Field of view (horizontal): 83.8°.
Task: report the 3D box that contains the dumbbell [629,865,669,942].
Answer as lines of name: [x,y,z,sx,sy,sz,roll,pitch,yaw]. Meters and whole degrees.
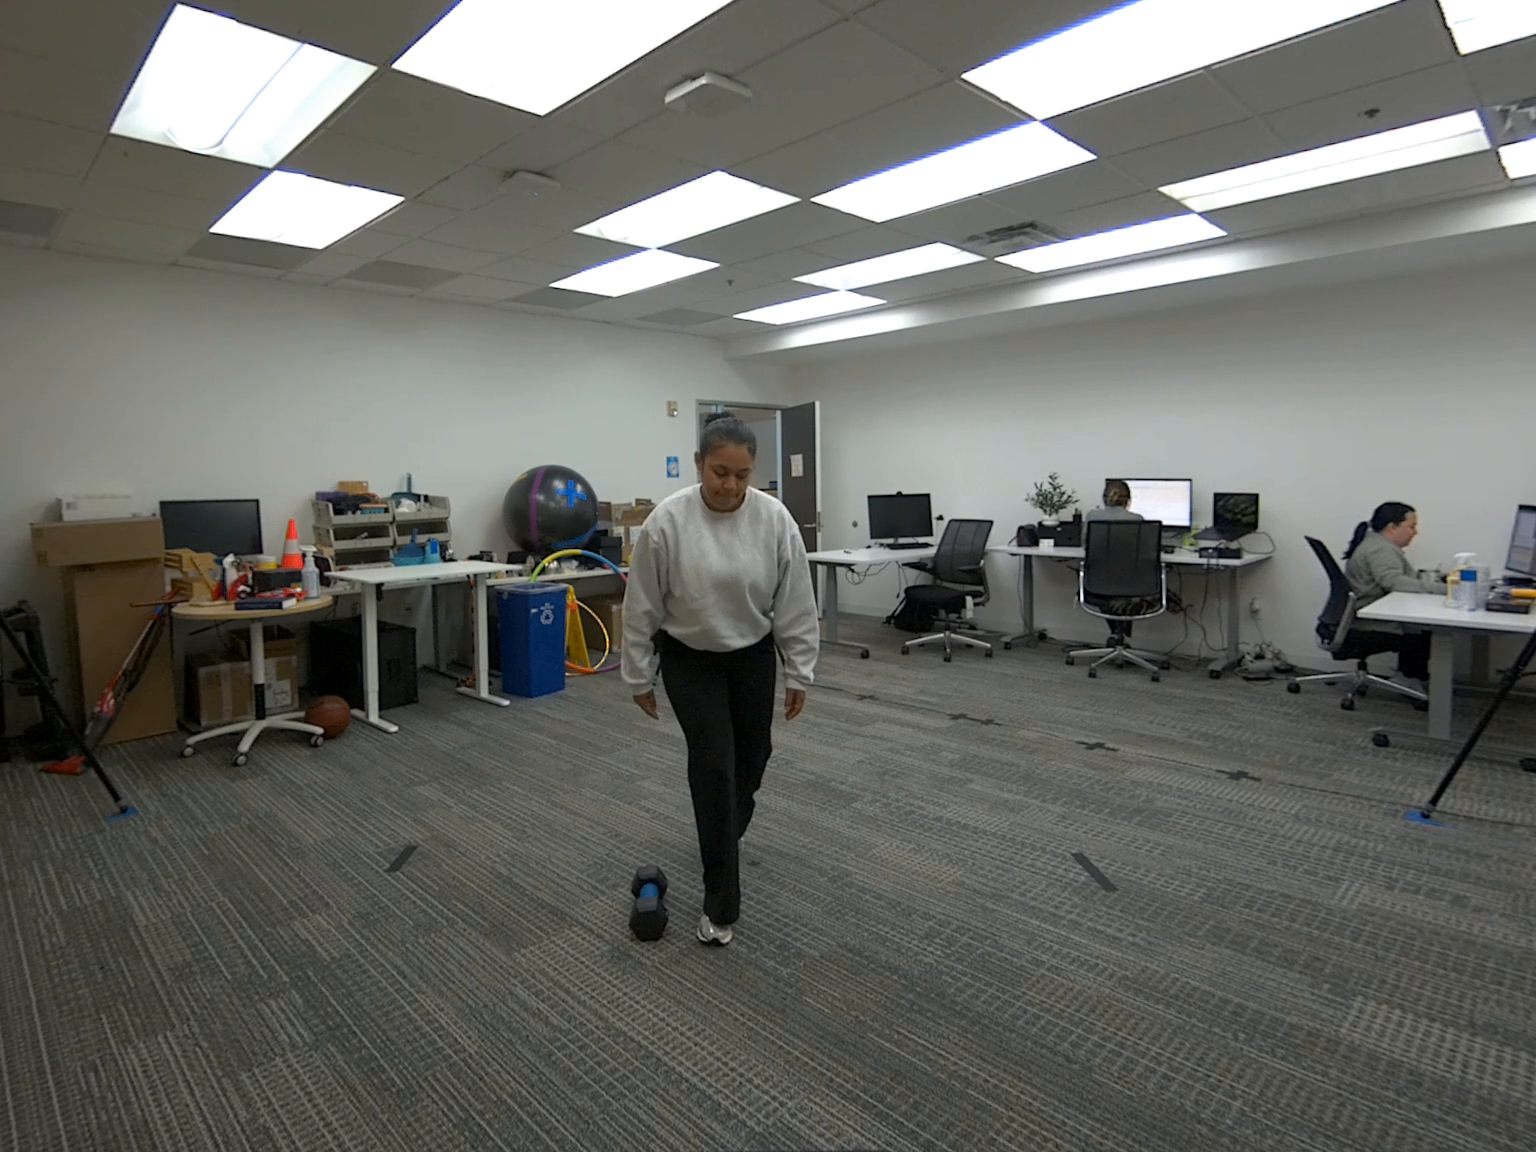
dumbbell: [-0.371,1.043,2.730,0.108,0.123,0.296,28,2,-9]
